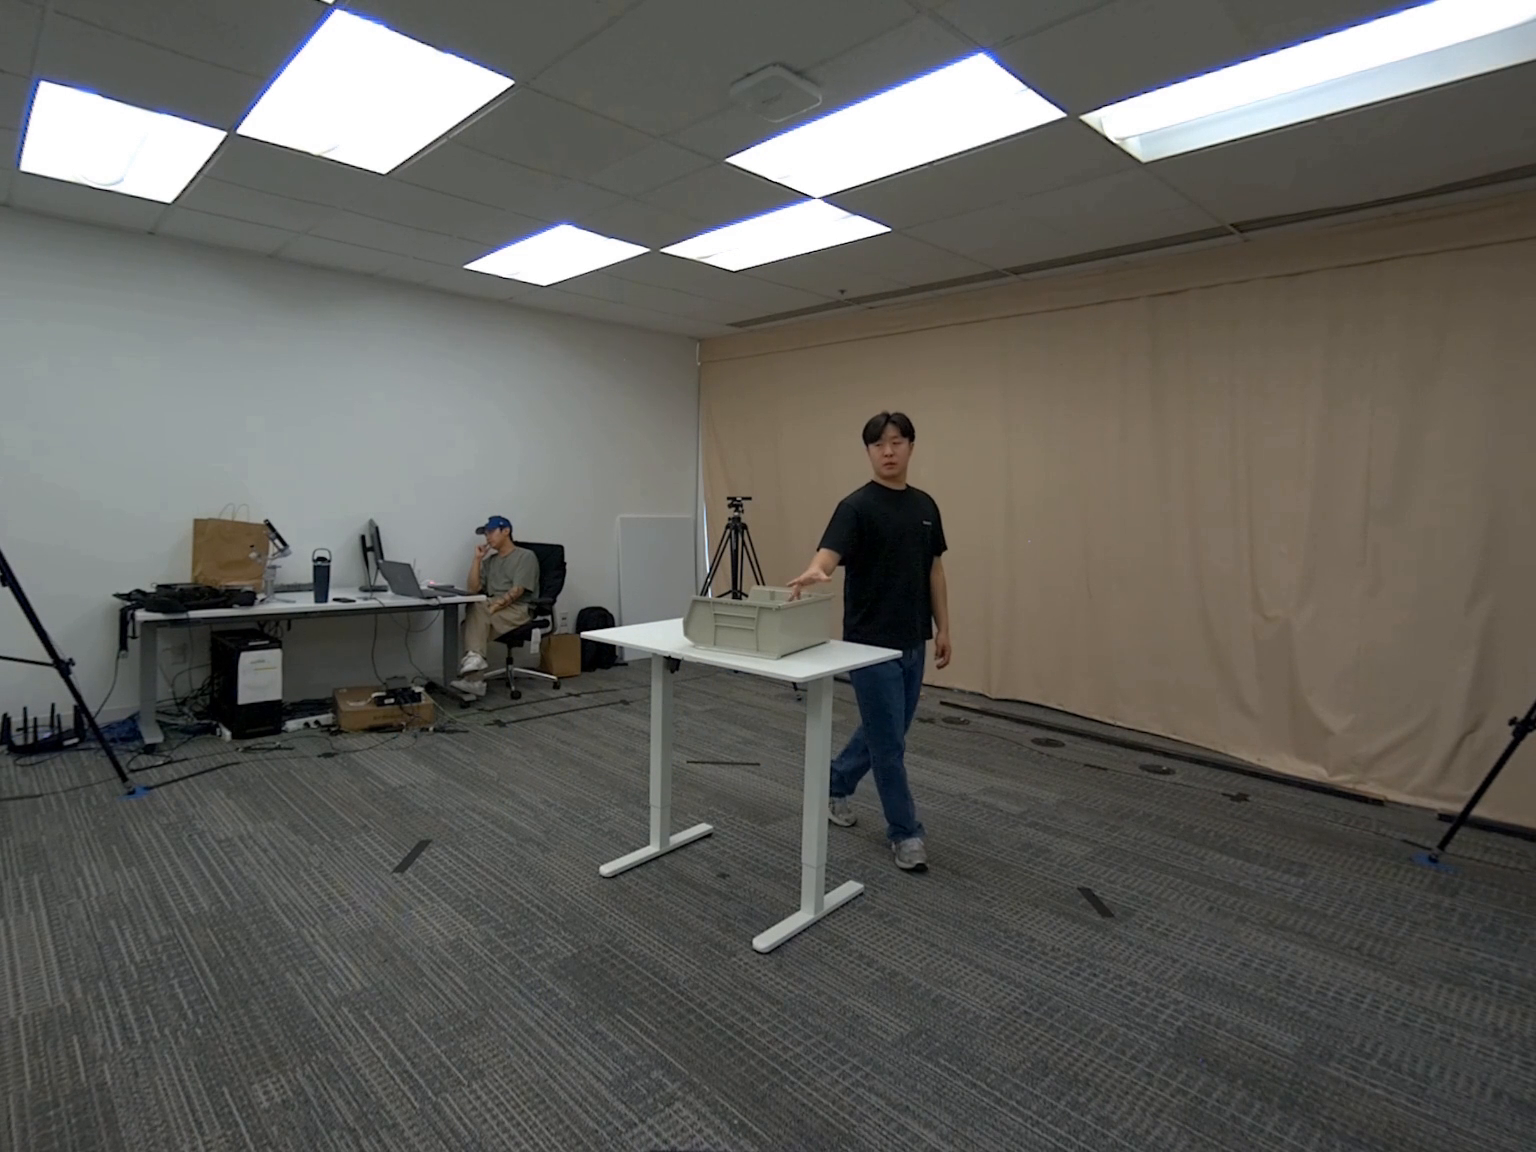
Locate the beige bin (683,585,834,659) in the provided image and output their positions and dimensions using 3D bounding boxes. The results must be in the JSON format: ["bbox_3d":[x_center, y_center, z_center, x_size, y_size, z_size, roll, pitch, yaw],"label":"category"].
[{"bbox_3d":[-0.029,0.158,2.933,0.386,0.188,0.414,6,6,30],"label":"beige bin"}]
